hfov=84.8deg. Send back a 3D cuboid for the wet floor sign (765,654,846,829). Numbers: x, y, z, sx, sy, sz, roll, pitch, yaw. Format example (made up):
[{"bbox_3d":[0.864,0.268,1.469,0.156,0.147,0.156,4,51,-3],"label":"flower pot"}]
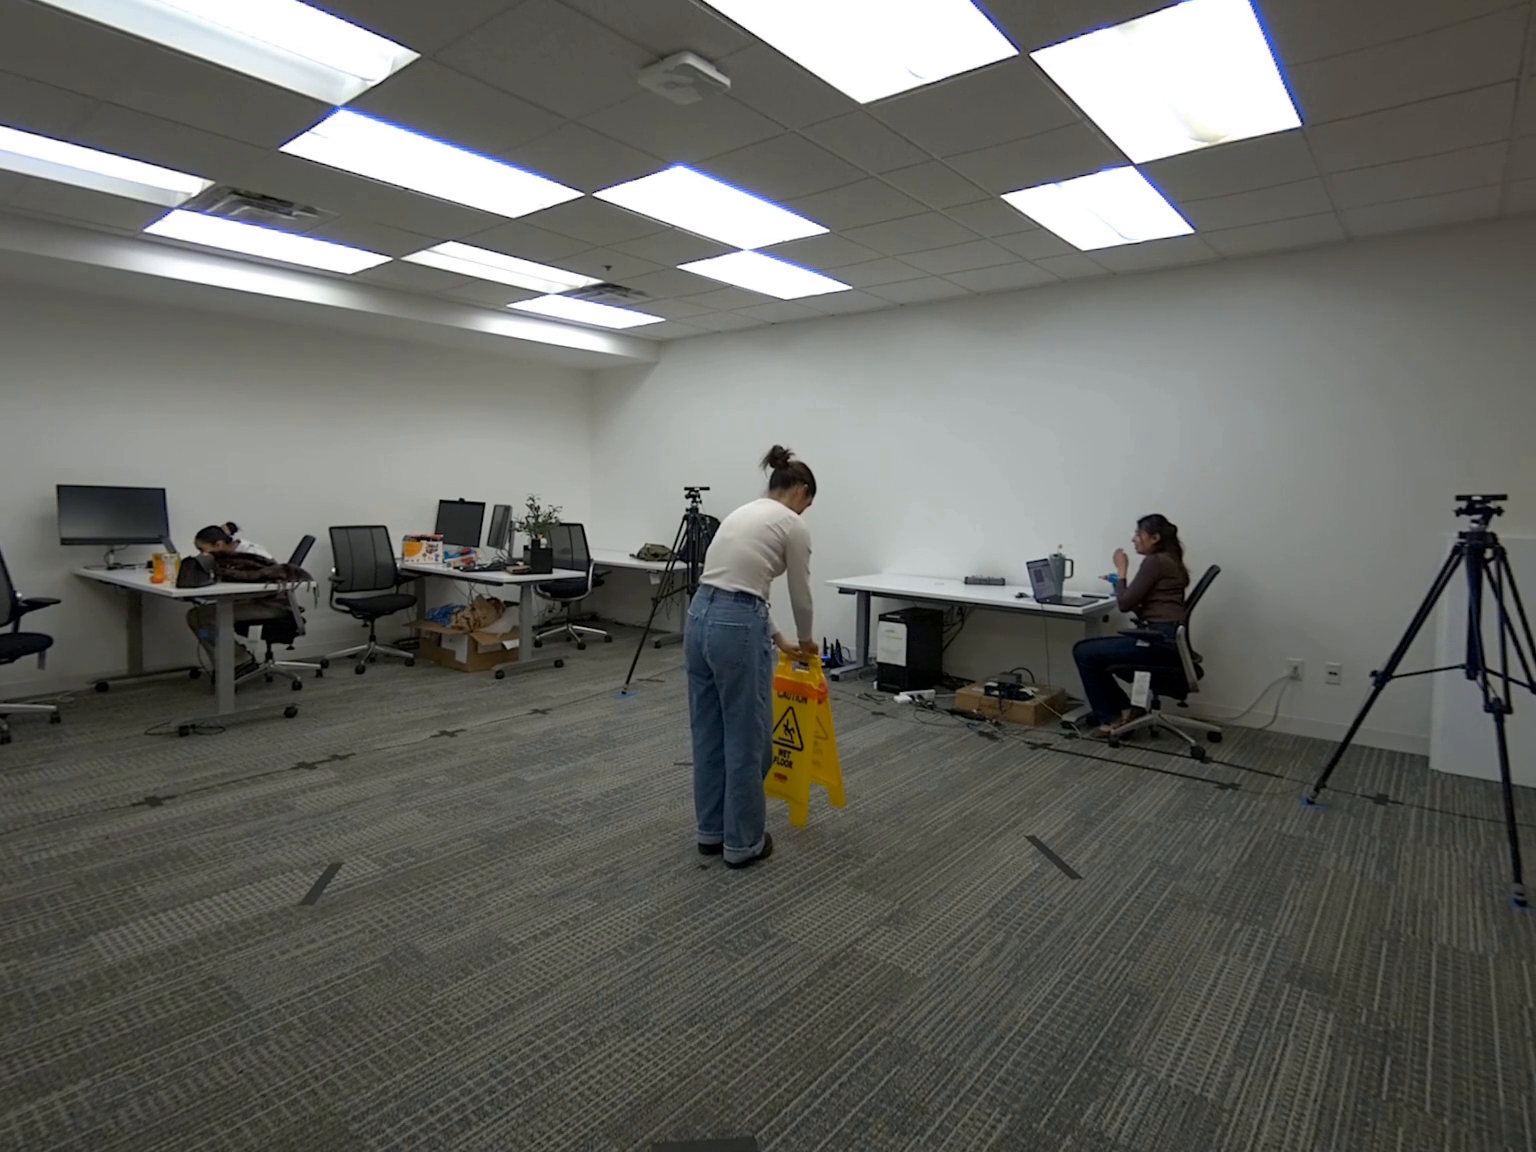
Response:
[{"bbox_3d":[0.116,0.618,3.439,0.292,0.643,0.281,6,6,42],"label":"wet floor sign"}]
